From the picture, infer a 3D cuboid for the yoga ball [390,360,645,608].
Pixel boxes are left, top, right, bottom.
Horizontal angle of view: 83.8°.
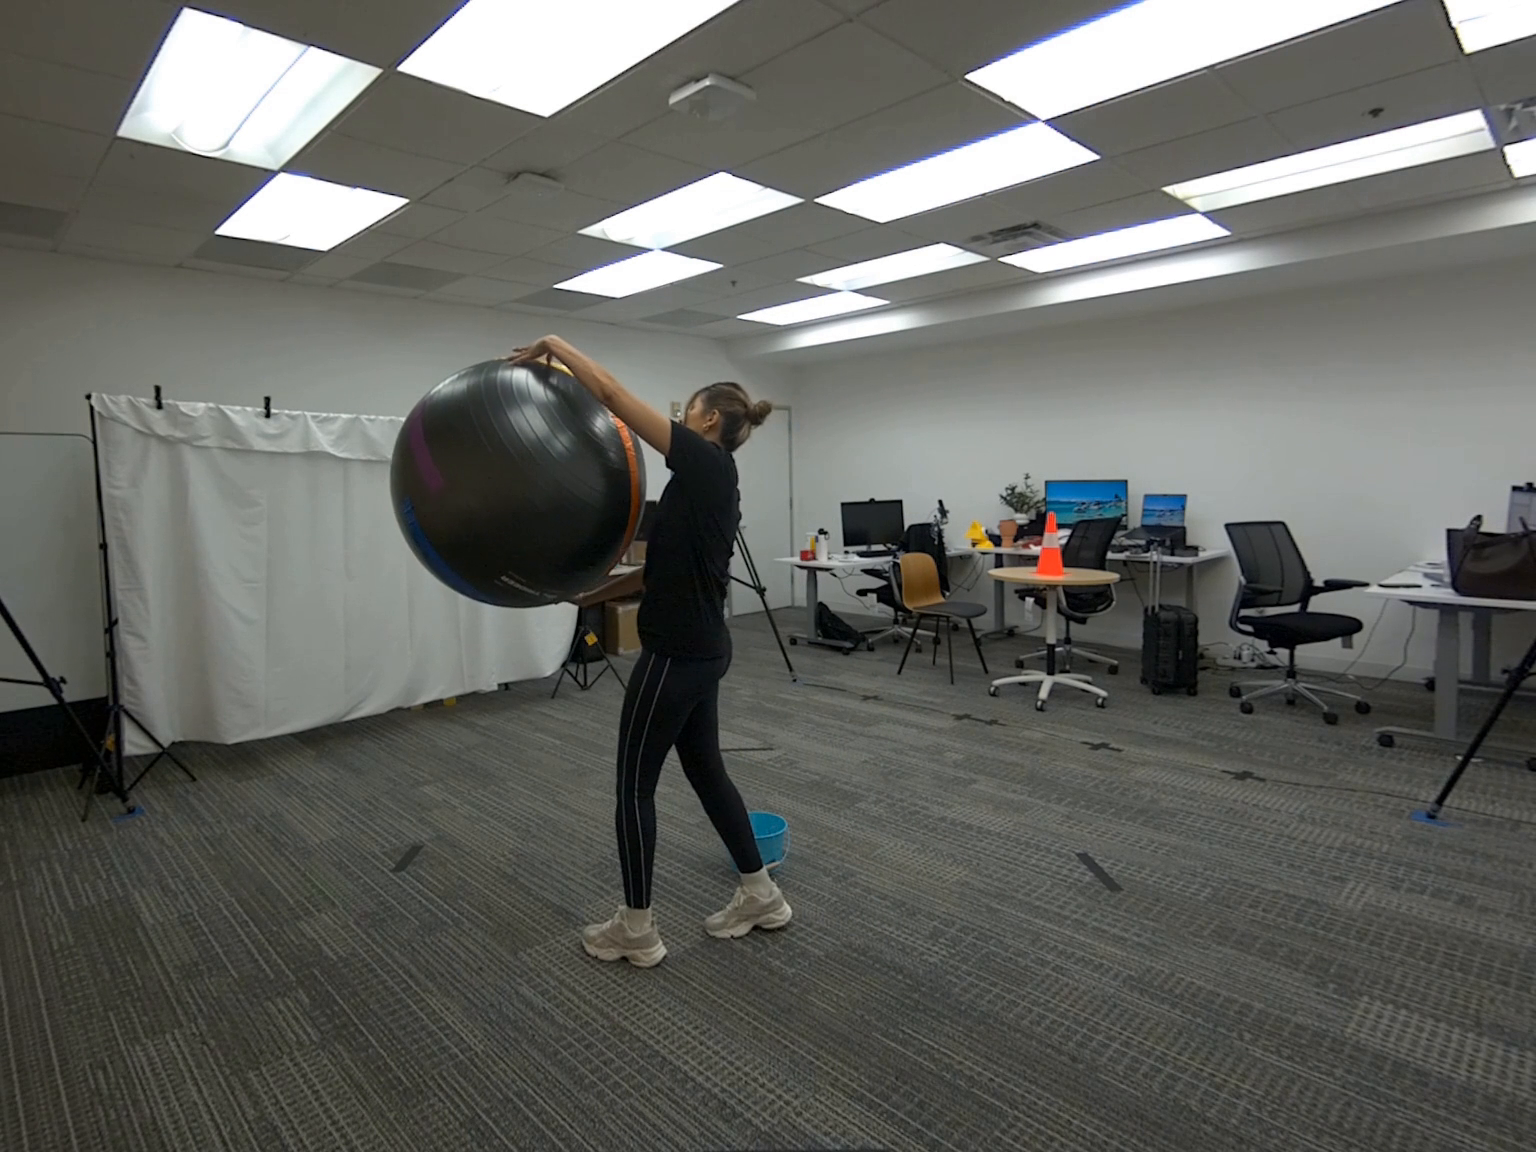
[{"bbox_3d":[-0.748,-0.277,2.596,0.757,0.755,0.762,-1,5,-2],"label":"yoga ball"}]
